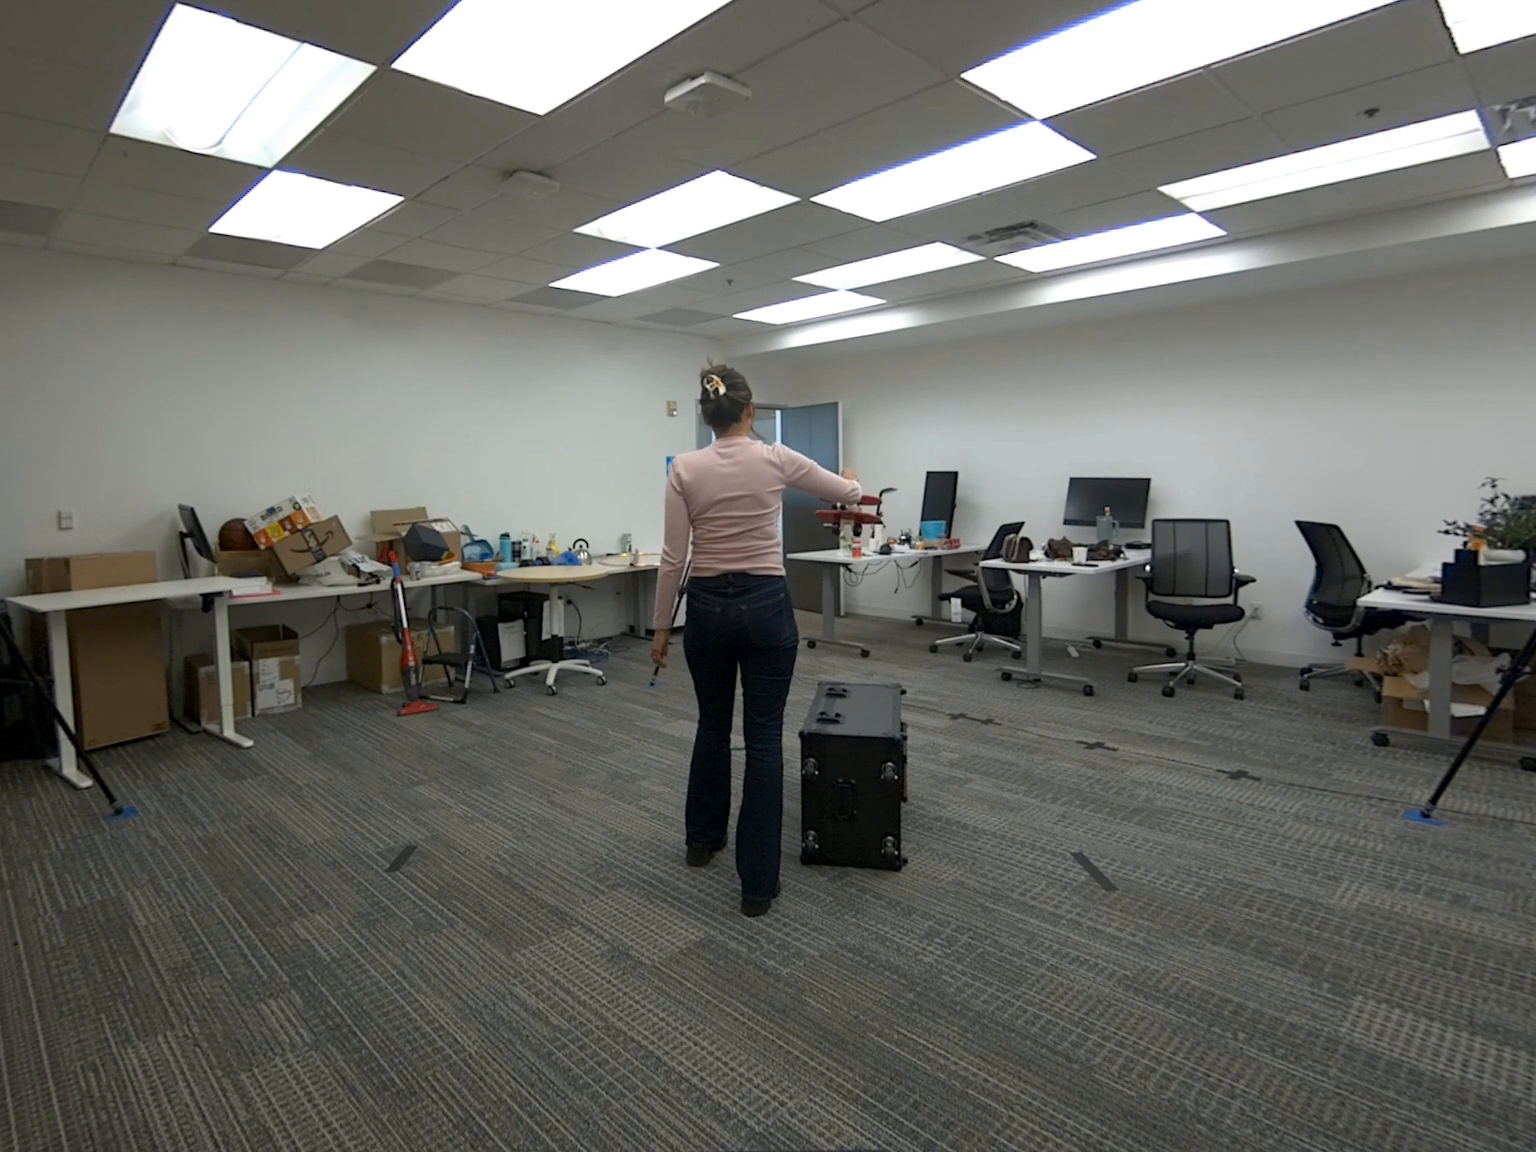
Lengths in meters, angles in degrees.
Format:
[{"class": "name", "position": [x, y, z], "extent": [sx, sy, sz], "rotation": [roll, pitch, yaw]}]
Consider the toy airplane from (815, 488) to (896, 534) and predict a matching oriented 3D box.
[{"class": "toy airplane", "position": [0.326, -0.268, 3.354], "extent": [0.250, 0.159, 0.257], "rotation": [20, -28, -5]}]
